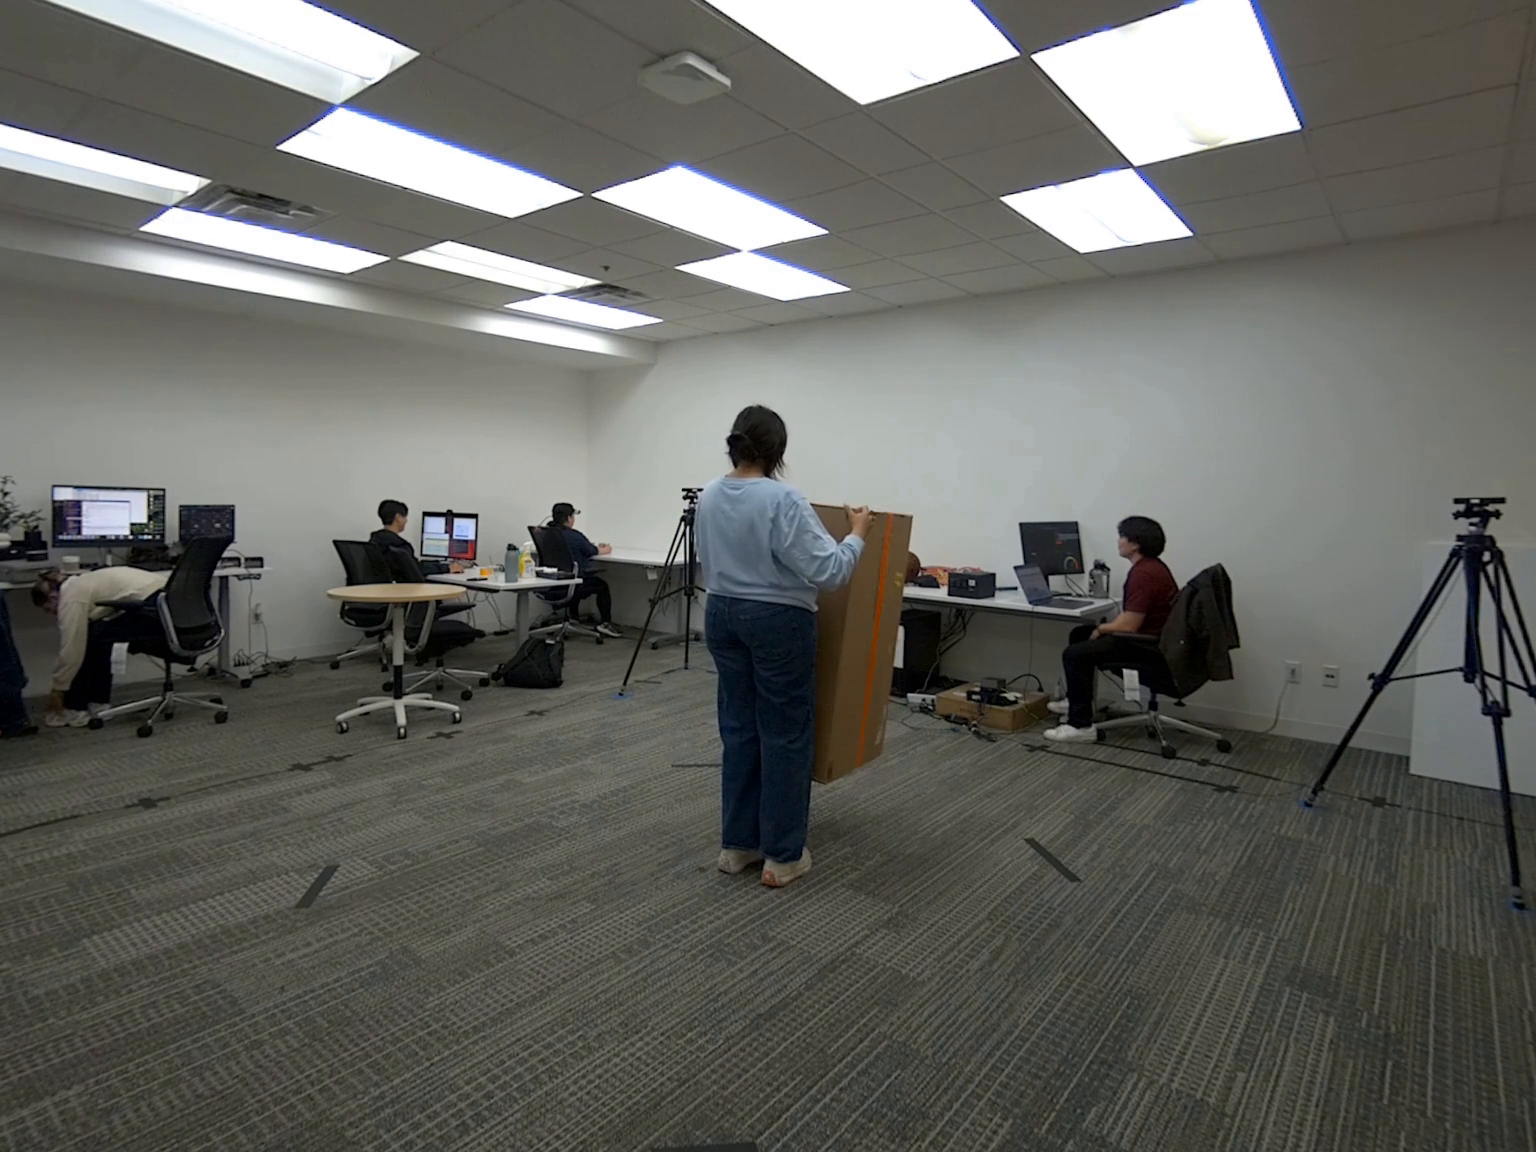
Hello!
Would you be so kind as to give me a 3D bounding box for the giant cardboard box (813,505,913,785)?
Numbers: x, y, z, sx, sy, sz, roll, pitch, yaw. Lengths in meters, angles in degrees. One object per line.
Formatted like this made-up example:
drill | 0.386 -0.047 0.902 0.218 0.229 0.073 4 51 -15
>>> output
giant cardboard box | 0.228 0.221 3.456 0.461 1.024 0.567 9 4 31
